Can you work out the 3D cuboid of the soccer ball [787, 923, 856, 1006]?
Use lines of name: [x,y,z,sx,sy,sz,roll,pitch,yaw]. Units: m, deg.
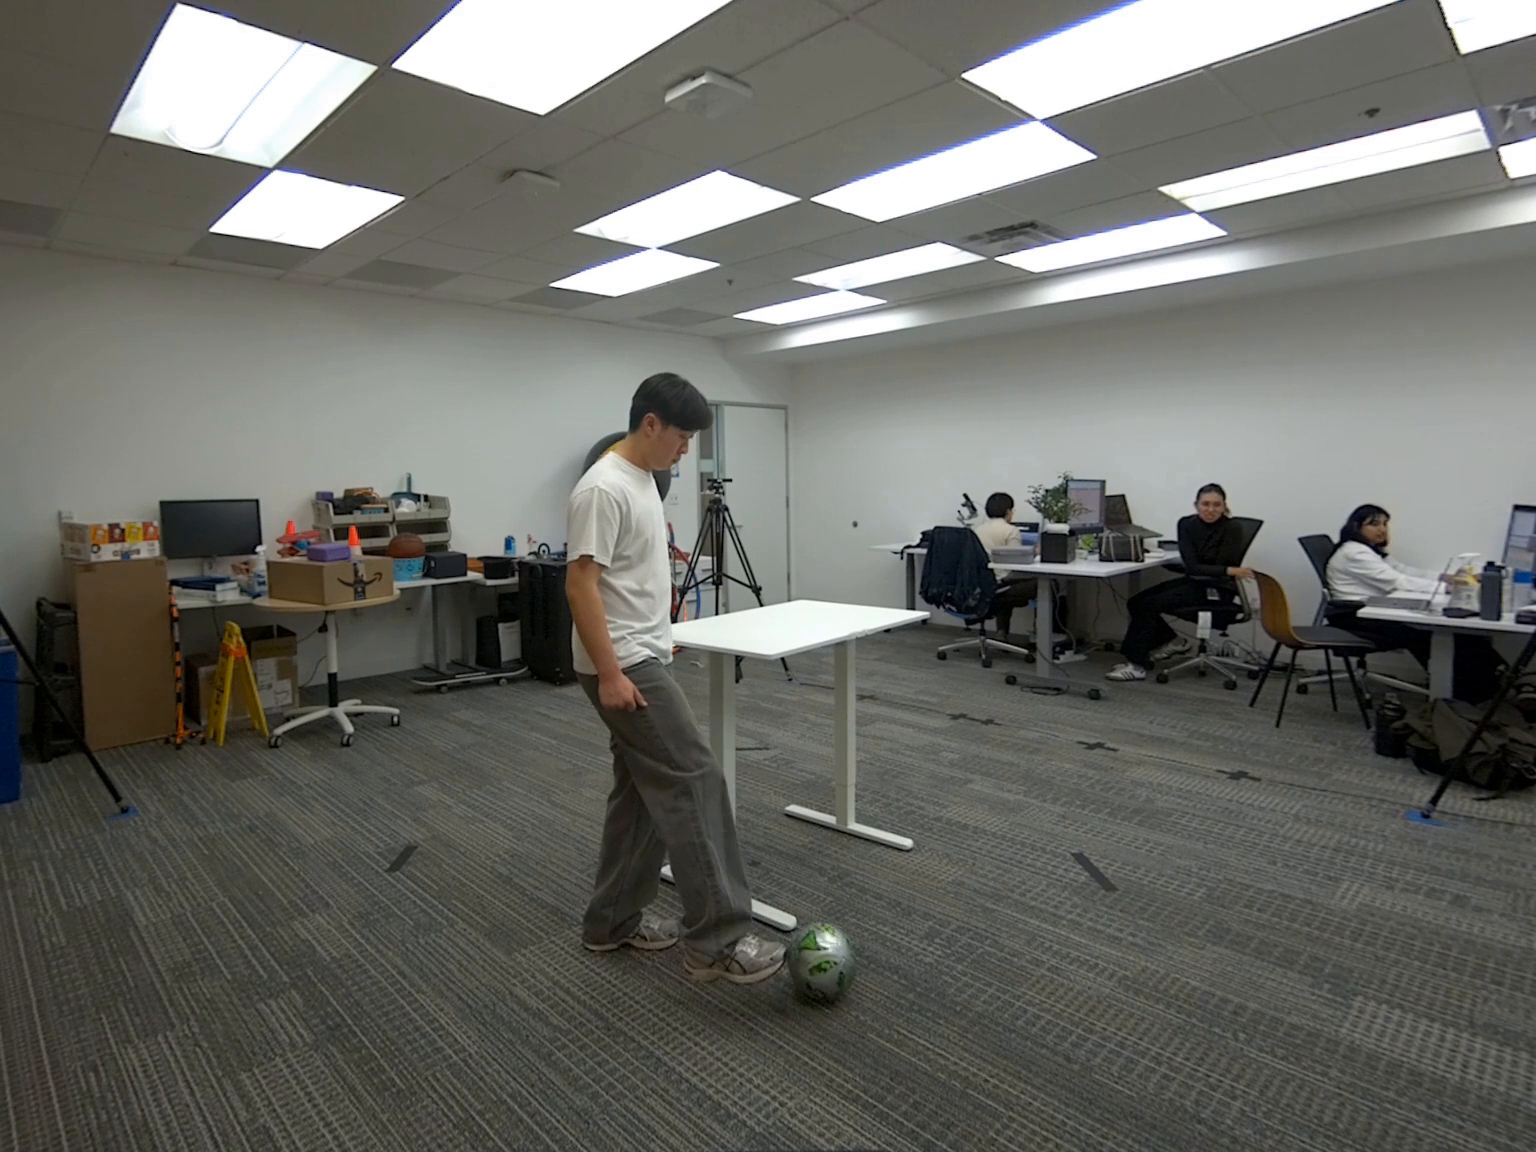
soccer ball: [0.154,1.040,2.315,0.187,0.187,0.188,-1,5,-2]
